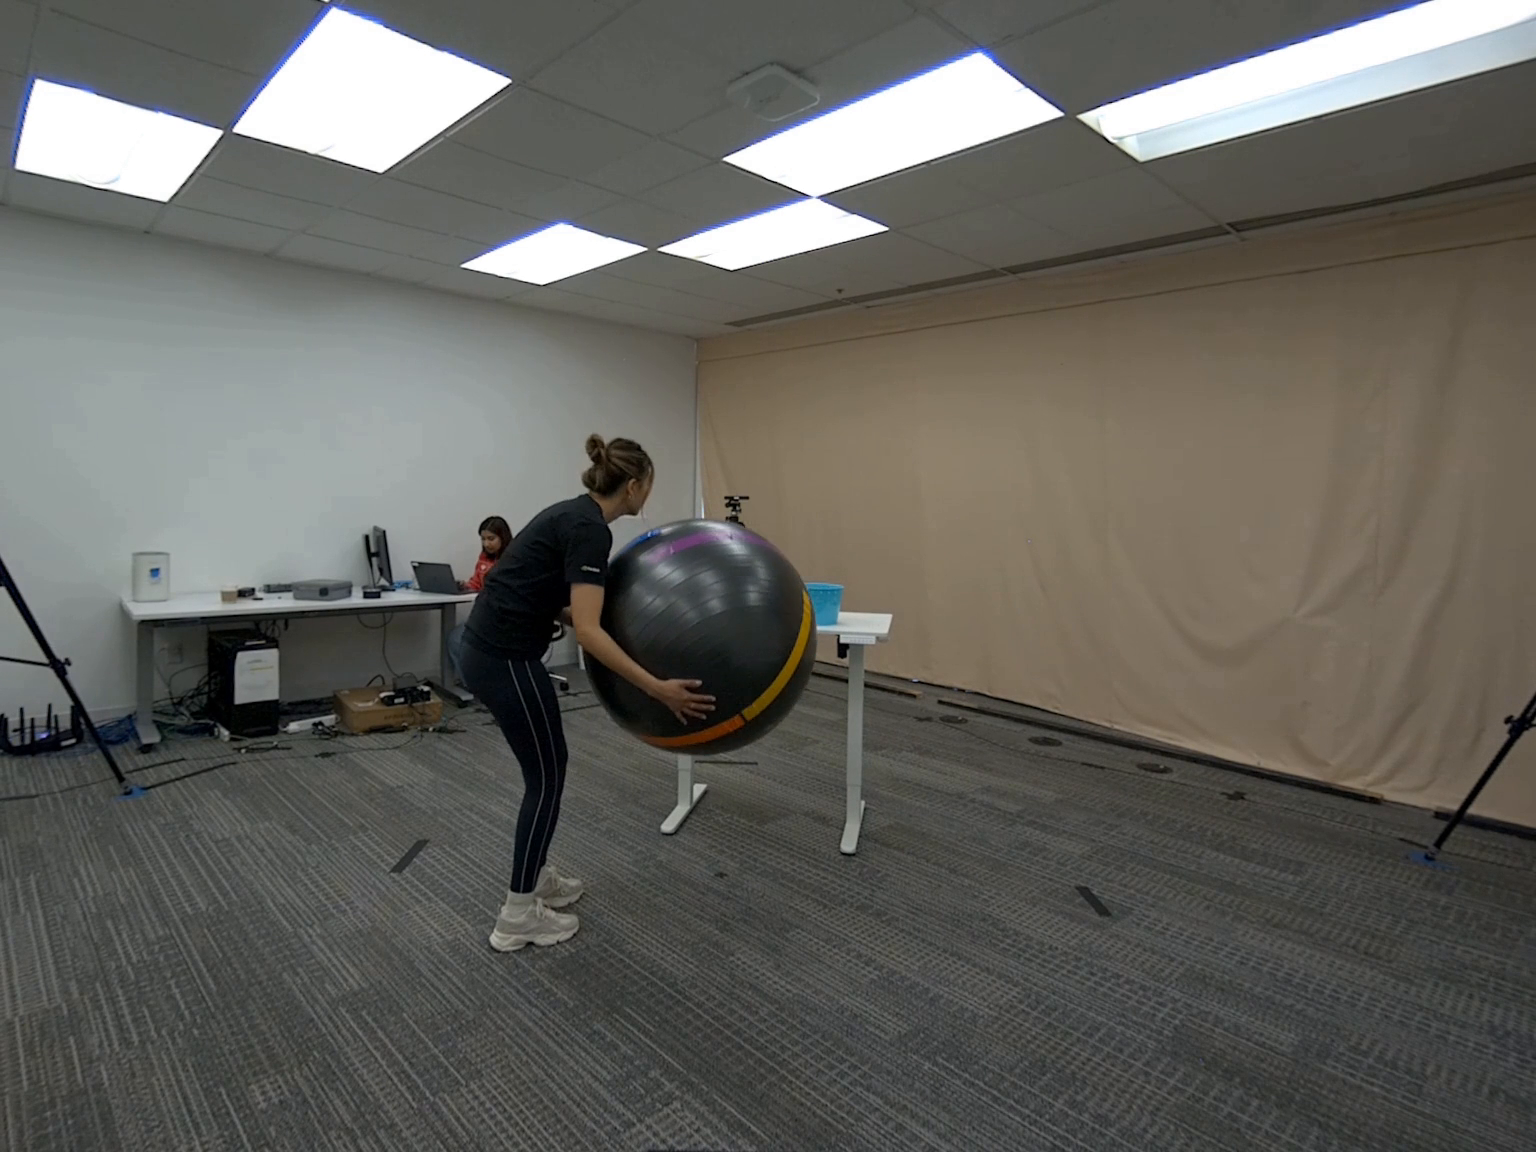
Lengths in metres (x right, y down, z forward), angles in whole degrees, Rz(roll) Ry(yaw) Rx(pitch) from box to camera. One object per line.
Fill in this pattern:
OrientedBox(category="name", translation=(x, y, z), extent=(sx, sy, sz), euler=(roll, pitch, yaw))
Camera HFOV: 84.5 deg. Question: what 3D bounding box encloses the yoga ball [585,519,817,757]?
OrientedBox(category="yoga ball", translation=(-0.217, 0.197, 2.724), extent=(0.757, 0.756, 0.761), euler=(1, 4, -1))
